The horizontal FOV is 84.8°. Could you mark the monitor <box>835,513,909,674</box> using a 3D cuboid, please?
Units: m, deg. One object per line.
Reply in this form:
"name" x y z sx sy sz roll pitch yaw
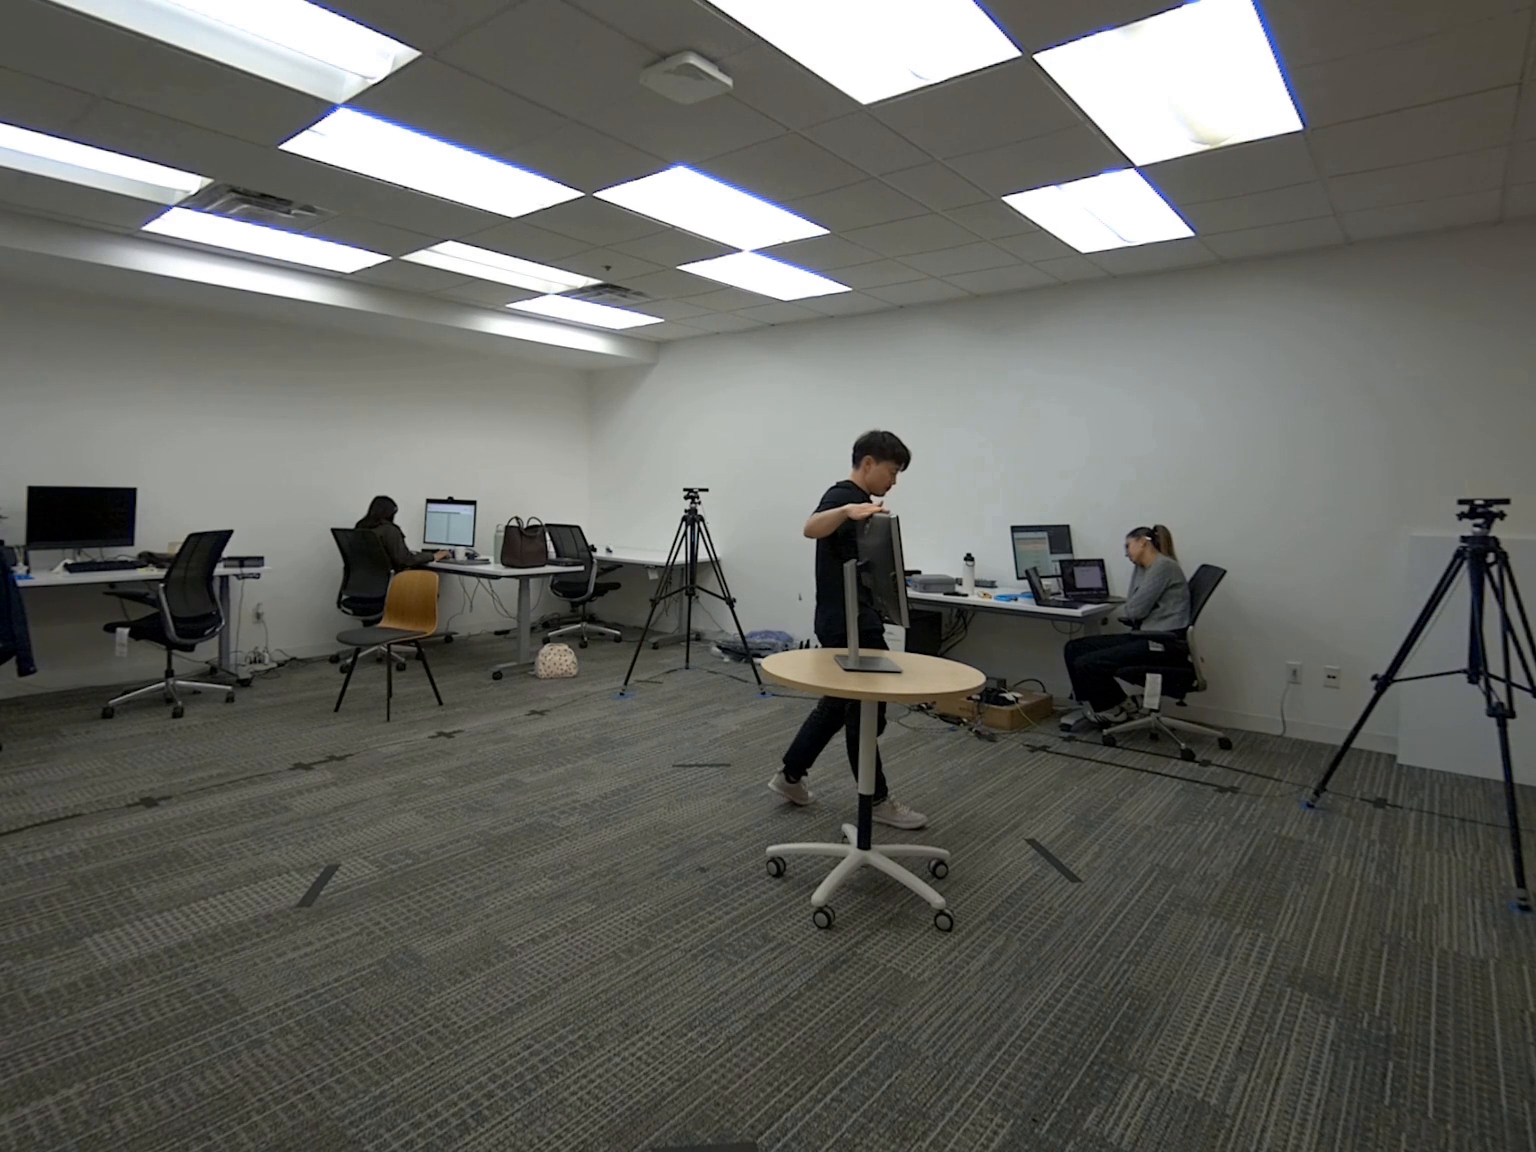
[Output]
"monitor" 0.350 0.050 2.991 0.186 0.521 0.544 3 3 -8
